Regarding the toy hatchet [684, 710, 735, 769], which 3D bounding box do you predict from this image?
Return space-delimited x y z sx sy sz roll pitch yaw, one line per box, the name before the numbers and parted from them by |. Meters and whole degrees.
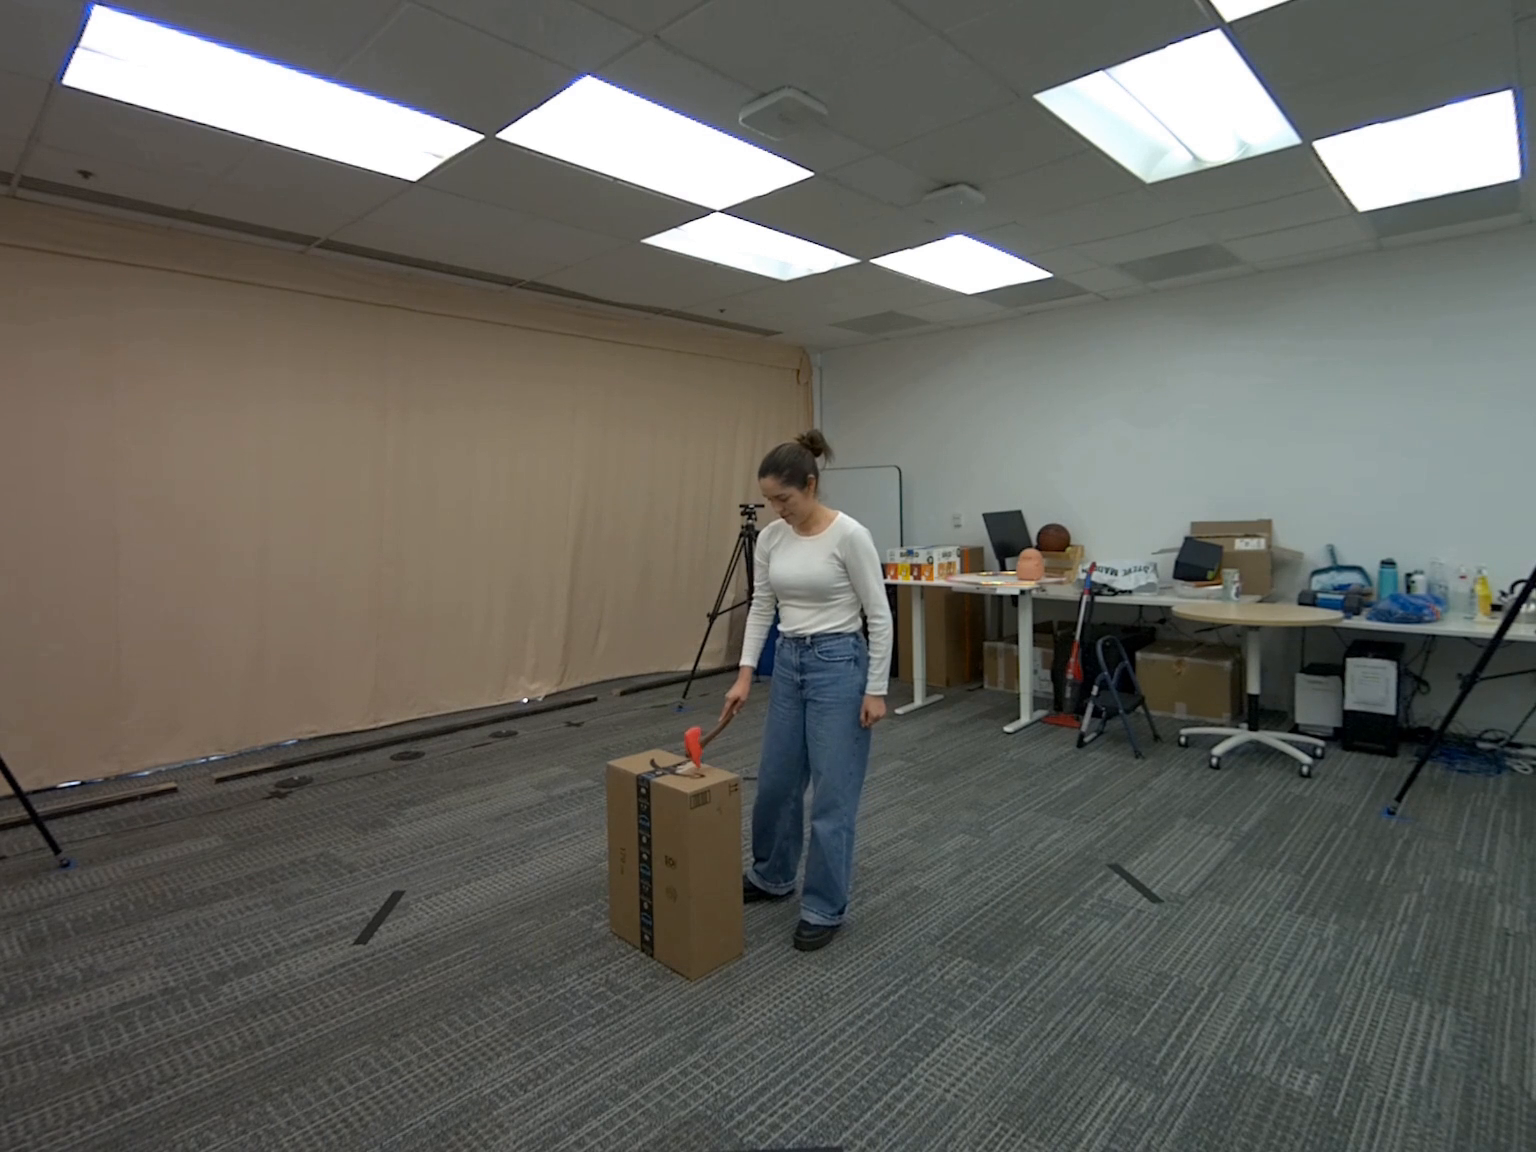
toy hatchet | -0.188 0.476 2.675 0.030 0.127 0.269 3 47 49
